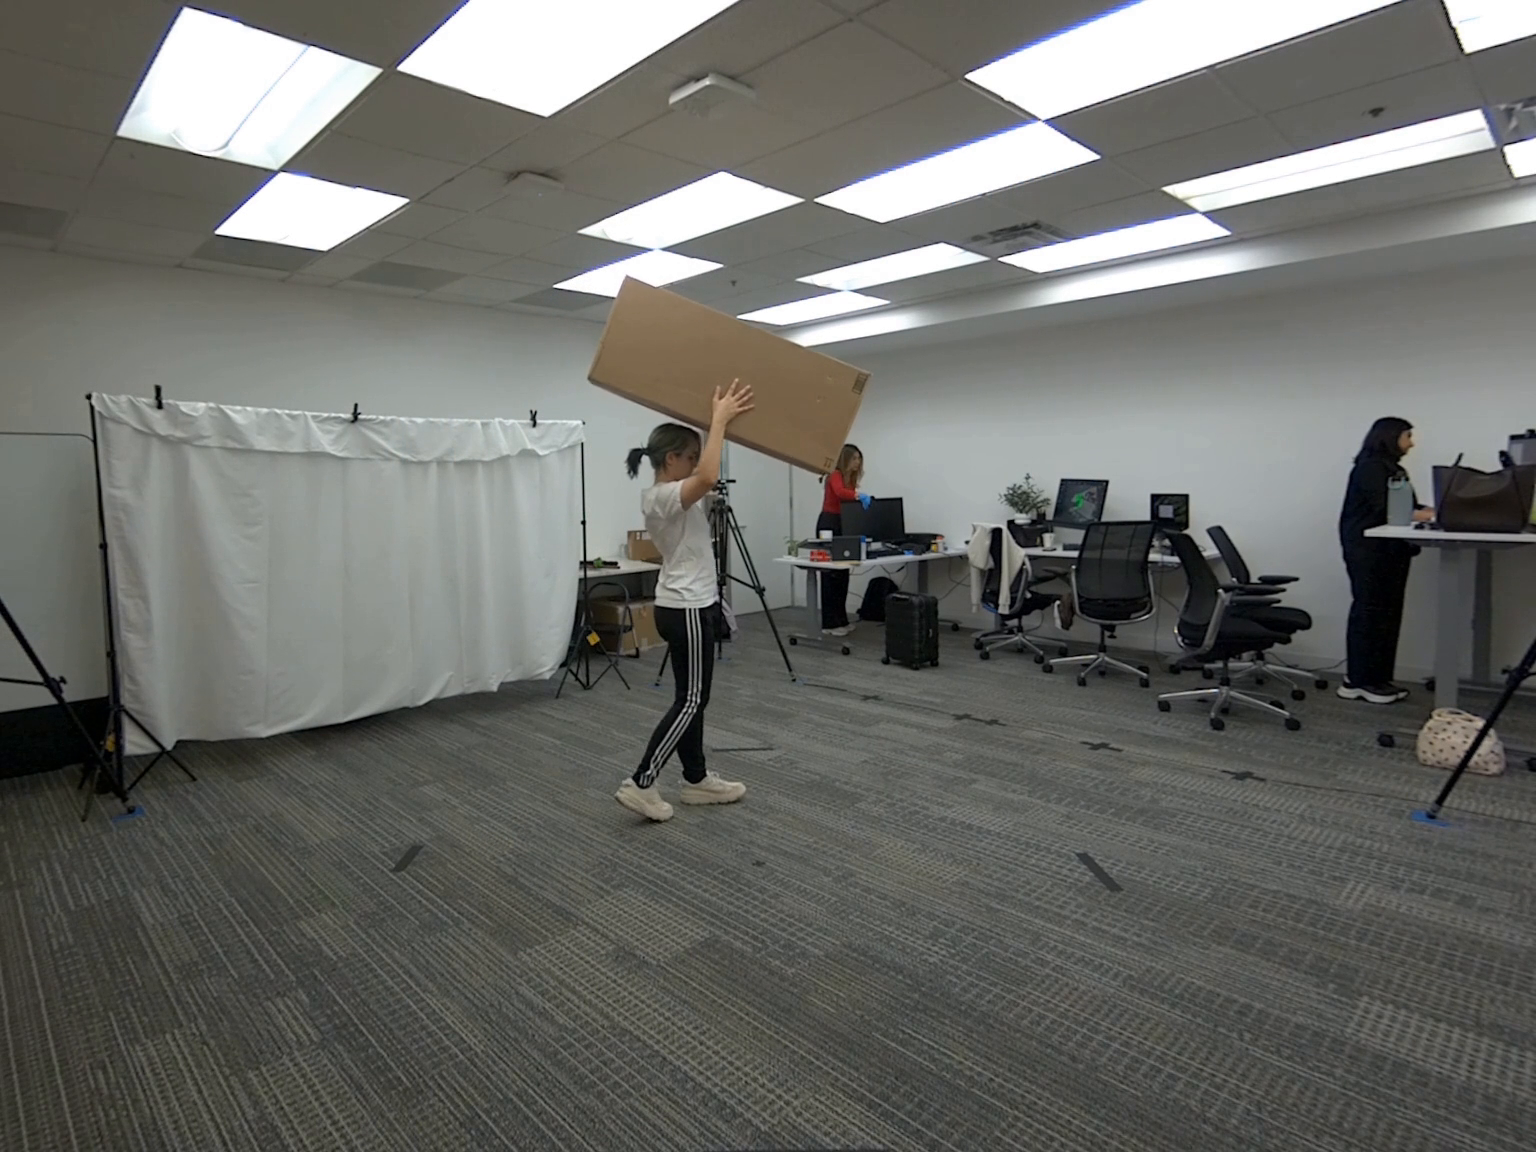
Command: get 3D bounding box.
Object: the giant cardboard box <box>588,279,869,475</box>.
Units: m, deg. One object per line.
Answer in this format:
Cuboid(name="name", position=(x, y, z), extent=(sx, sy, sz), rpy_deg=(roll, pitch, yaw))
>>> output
Cuboid(name="giant cardboard box", position=(-0.171, -0.815, 3.563), extent=(1.019, 0.446, 0.590), rpy_deg=(21, 5, -7))
